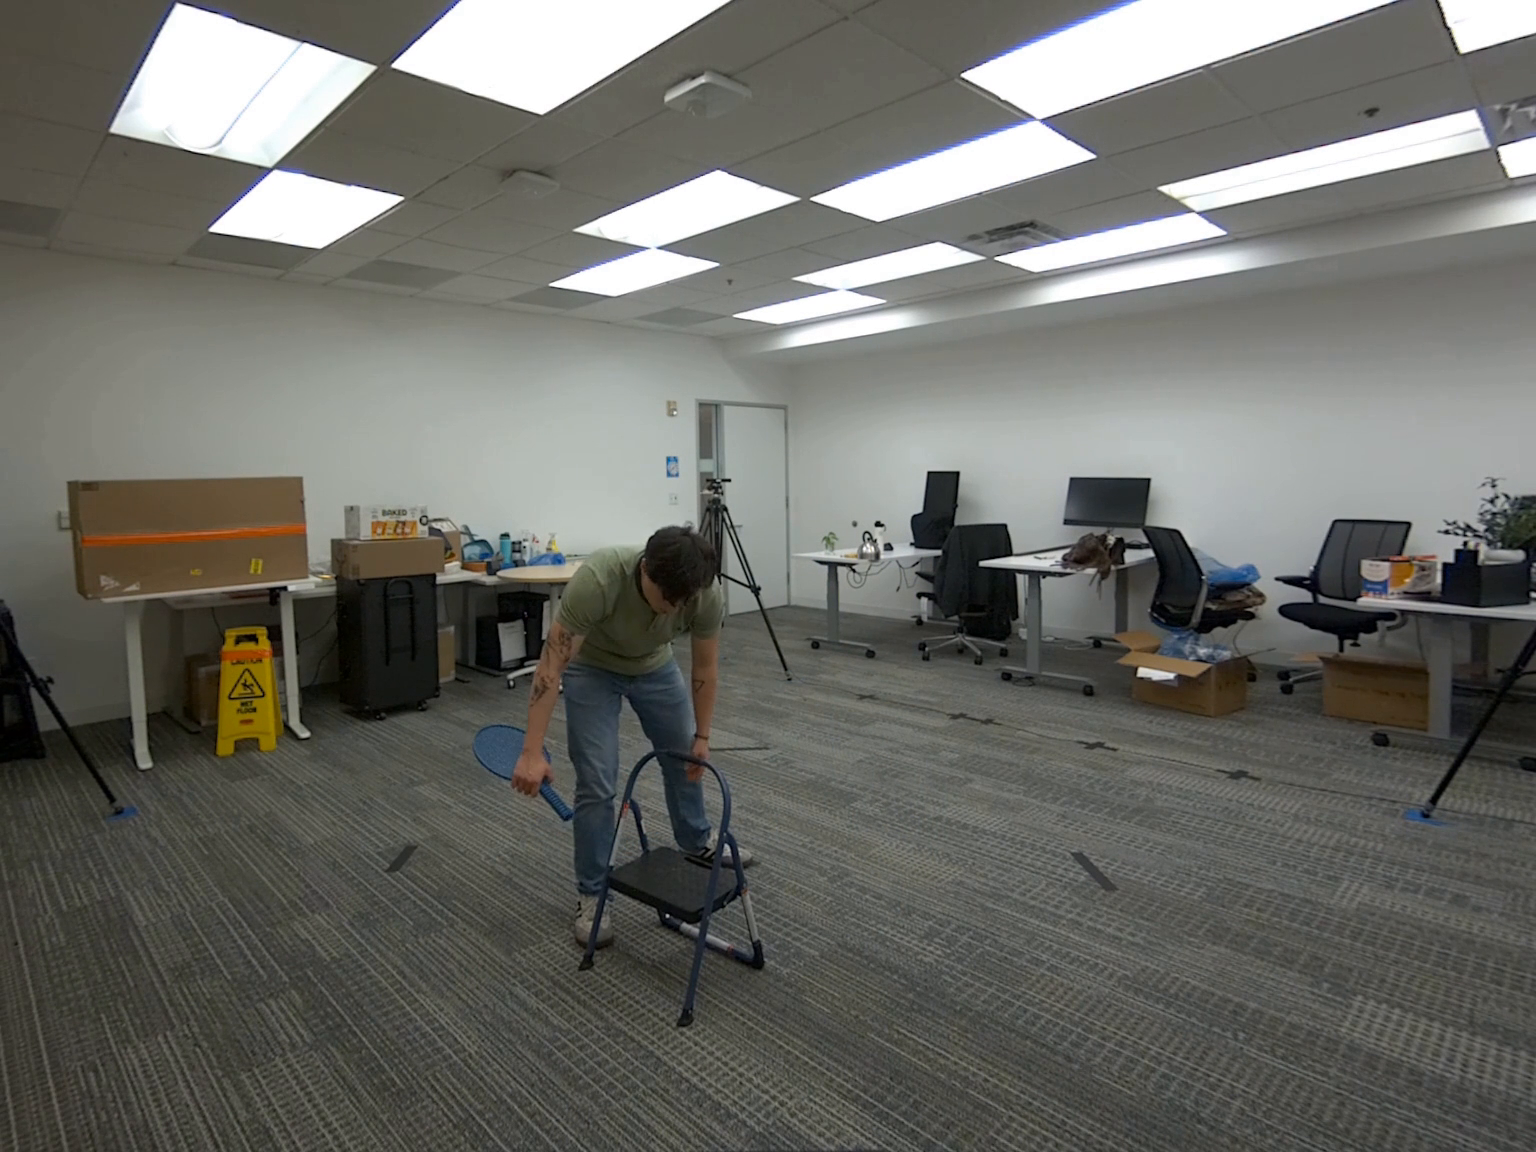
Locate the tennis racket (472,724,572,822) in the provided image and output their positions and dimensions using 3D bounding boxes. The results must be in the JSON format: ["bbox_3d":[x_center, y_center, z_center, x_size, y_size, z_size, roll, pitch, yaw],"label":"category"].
[{"bbox_3d":[-0.692,0.561,2.465,0.208,0.031,0.450,-8,30,-45],"label":"tennis racket"}]
